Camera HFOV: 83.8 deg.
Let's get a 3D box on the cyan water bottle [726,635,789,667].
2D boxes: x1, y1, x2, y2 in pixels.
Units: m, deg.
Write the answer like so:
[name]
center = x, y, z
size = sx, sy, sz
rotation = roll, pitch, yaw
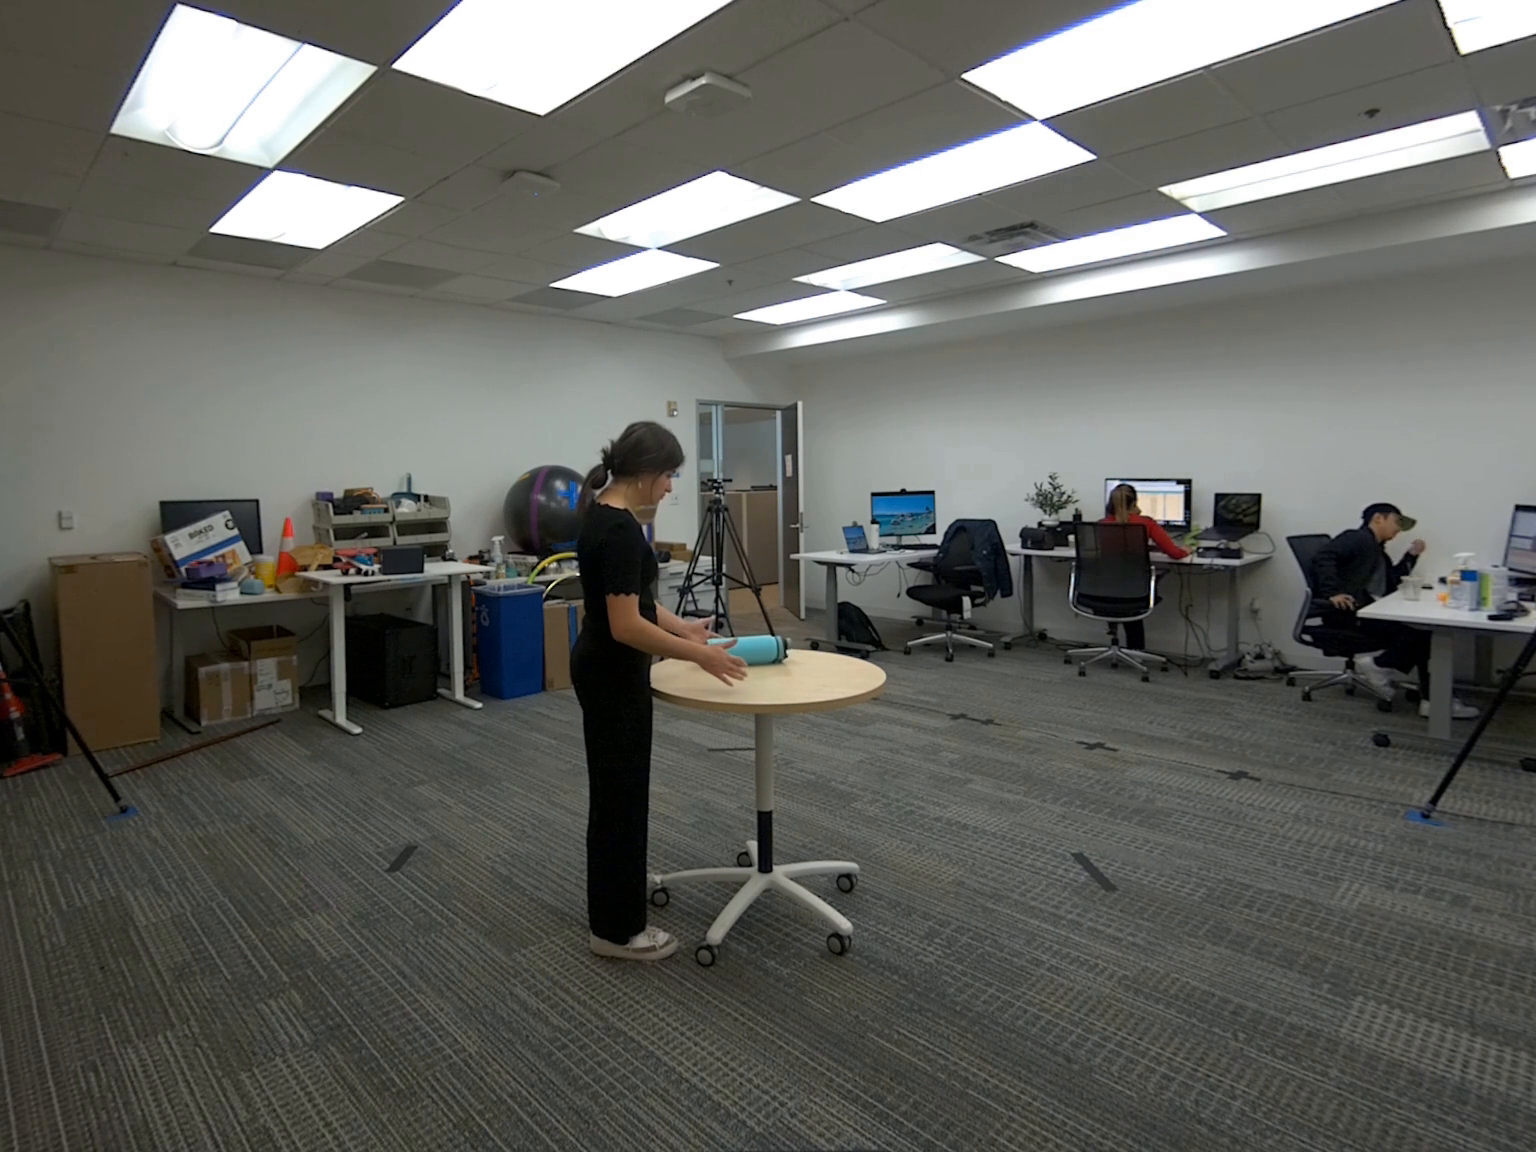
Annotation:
[cyan water bottle]
center = -0.061, 0.244, 2.825
size = 0.280, 0.092, 0.093
rotation = -1, 5, -10
